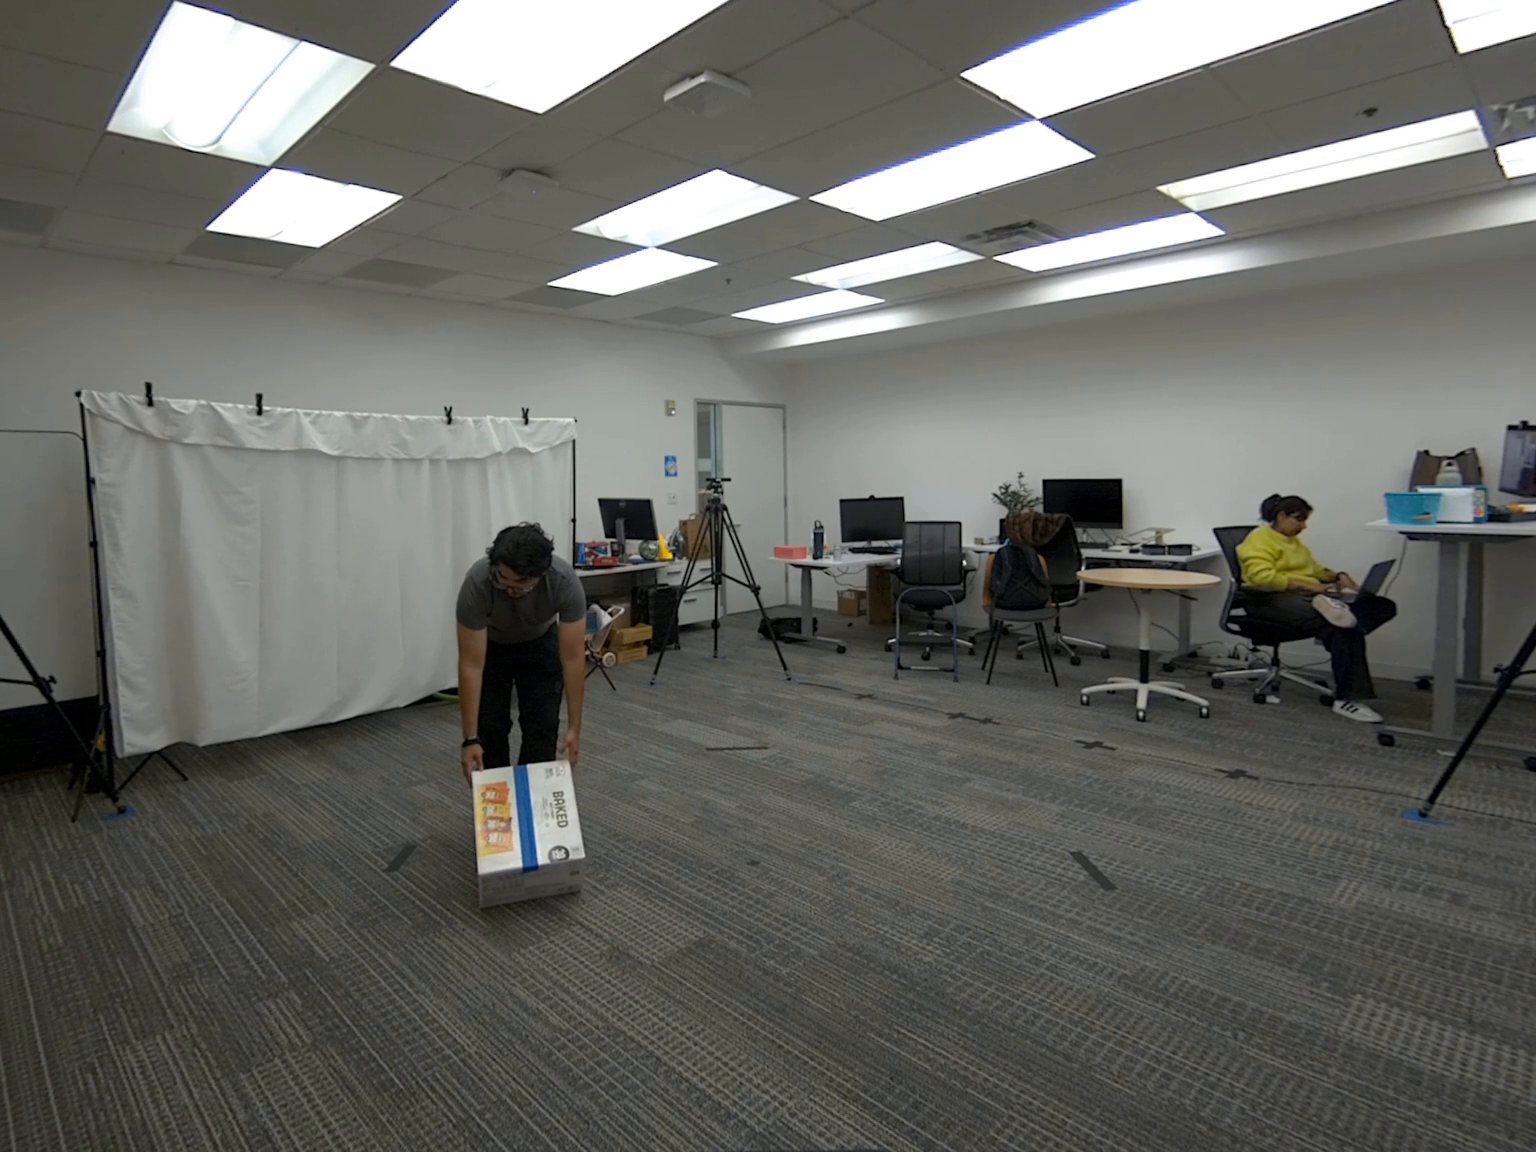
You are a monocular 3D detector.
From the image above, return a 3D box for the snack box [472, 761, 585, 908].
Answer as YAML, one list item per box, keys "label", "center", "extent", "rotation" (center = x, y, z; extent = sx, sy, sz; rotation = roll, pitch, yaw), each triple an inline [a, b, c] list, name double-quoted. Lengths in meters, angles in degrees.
- label: "snack box"
  center: [-0.837, 0.881, 2.954]
  extent: [0.335, 0.201, 0.420]
  rotation: [-4, 41, -19]
